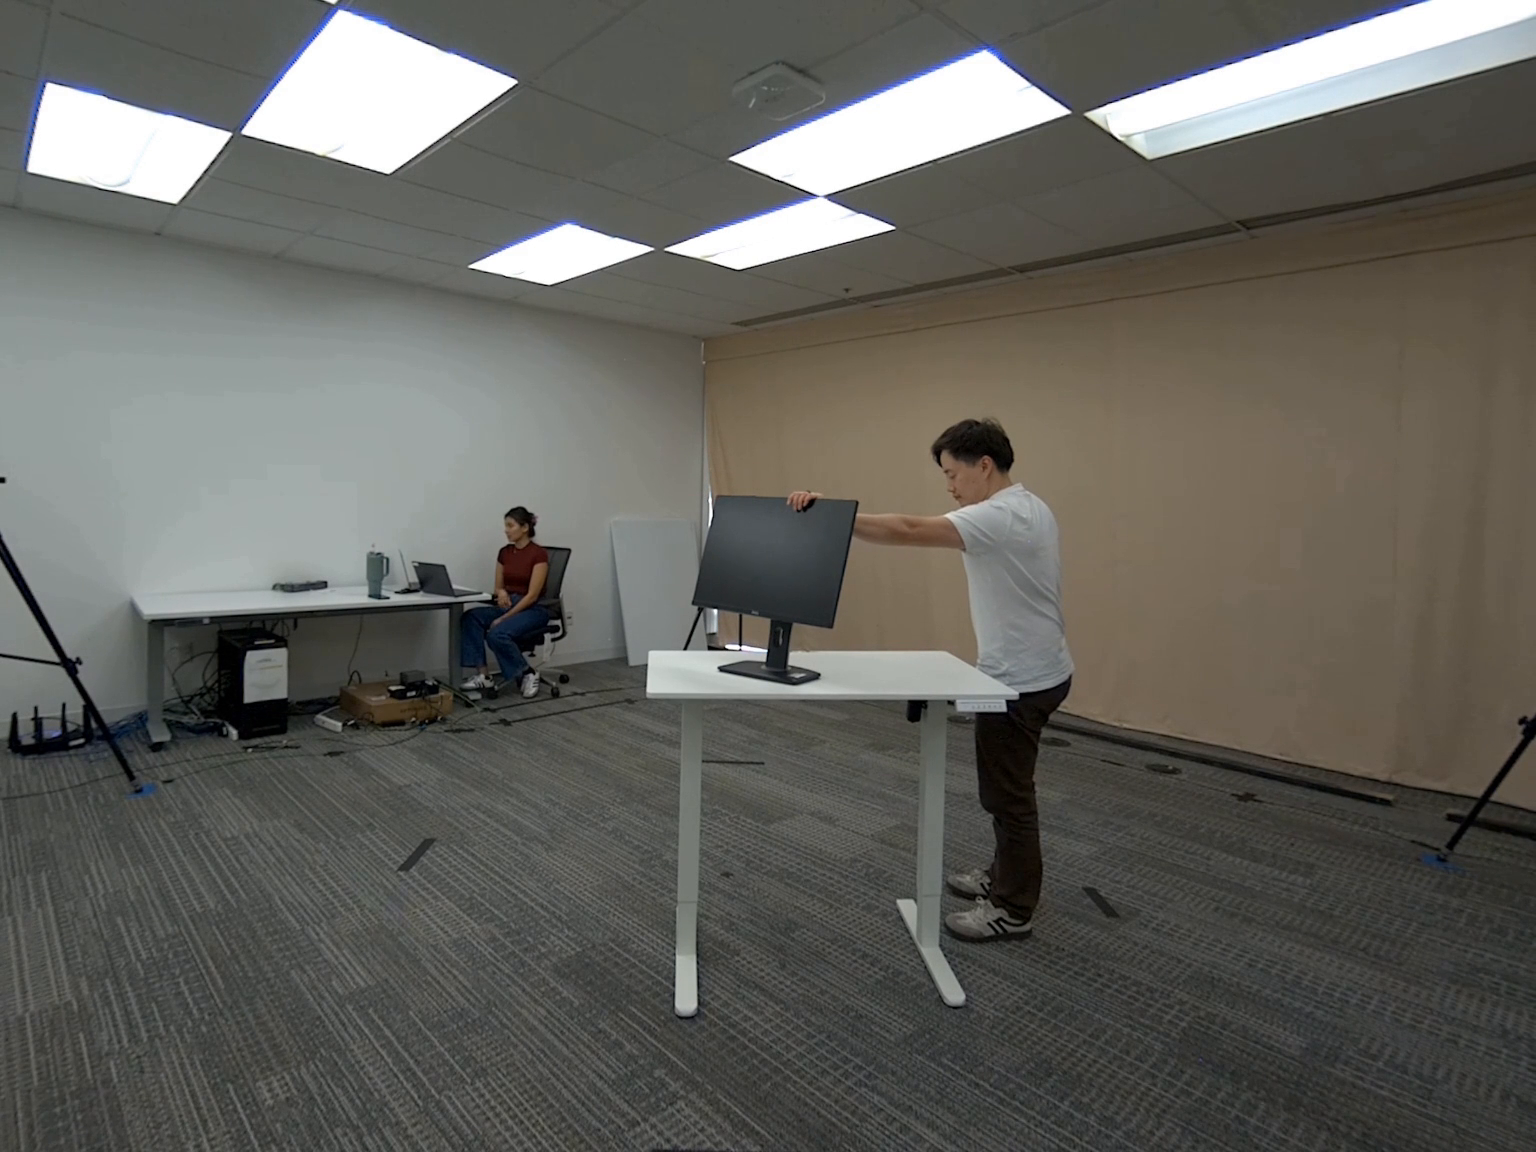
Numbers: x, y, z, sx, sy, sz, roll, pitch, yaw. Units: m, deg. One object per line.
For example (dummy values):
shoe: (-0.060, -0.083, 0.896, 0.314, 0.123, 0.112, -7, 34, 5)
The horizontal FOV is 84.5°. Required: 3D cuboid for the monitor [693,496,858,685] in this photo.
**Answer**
monitor: (0.017, 0.037, 2.432, 0.553, 0.521, 0.183, 6, 4, 41)
